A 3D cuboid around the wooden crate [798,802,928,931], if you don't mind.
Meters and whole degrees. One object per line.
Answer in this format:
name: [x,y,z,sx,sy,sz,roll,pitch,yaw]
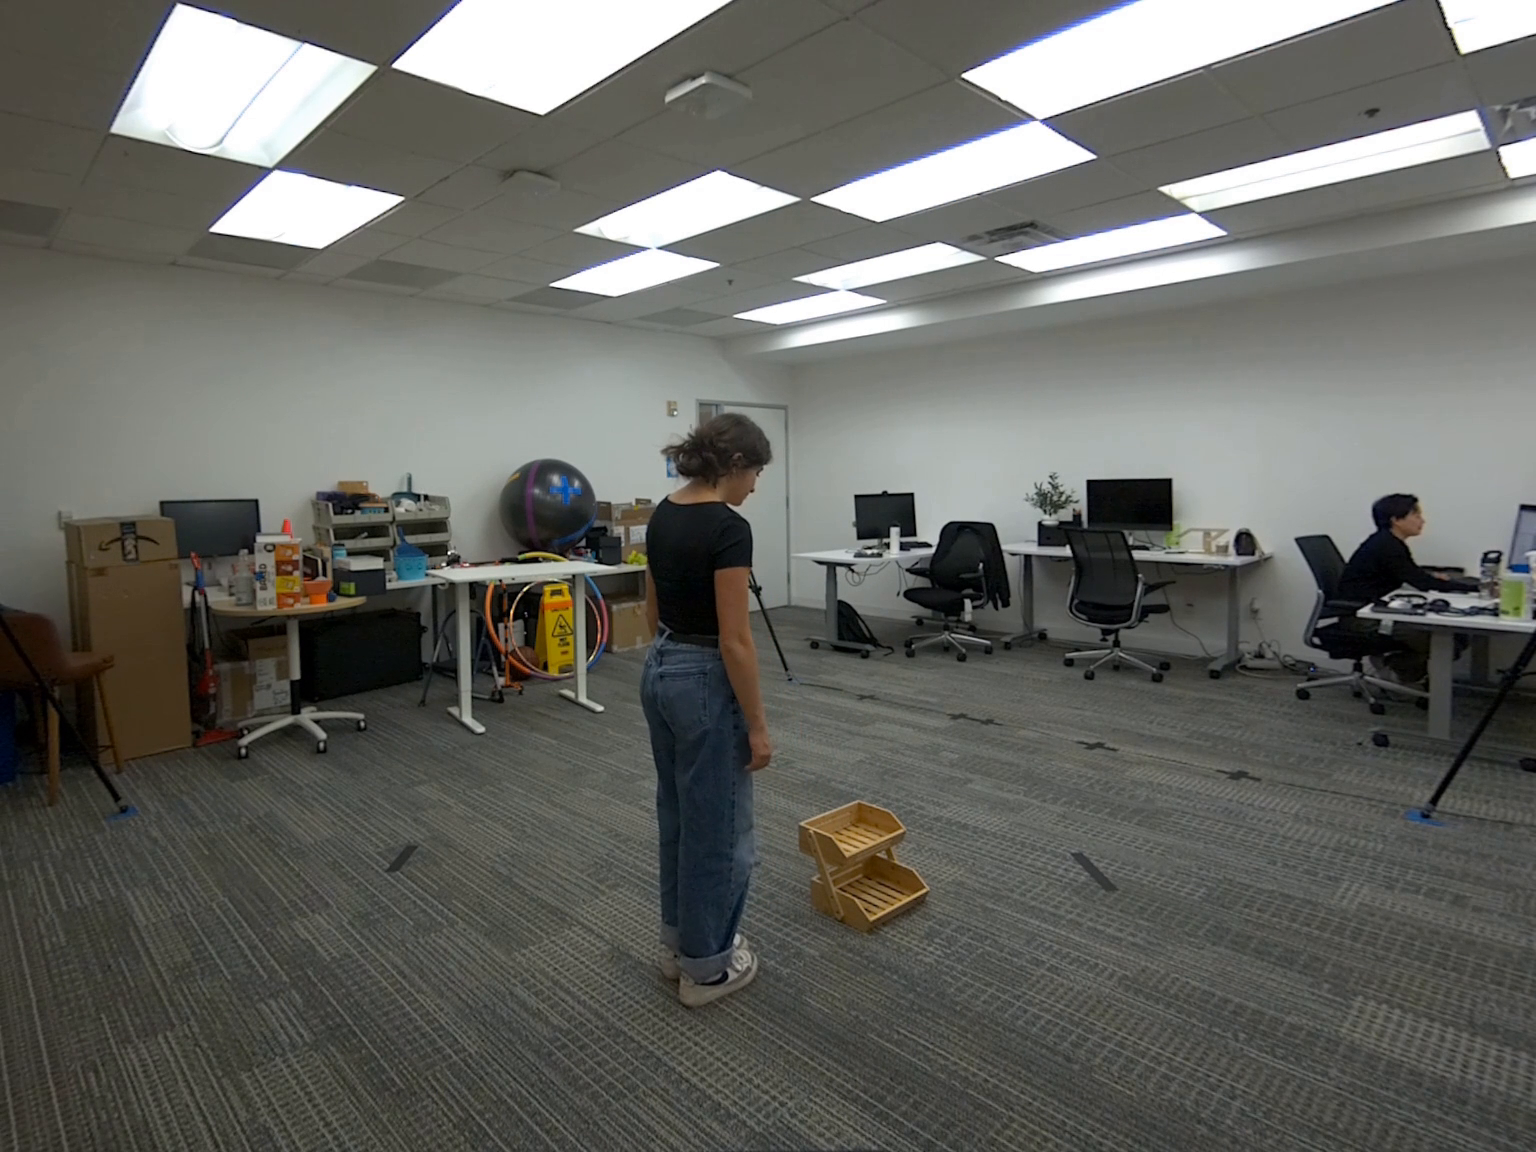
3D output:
wooden crate: [0.321,0.940,2.803,0.316,0.272,0.311,-6,6,-42]
